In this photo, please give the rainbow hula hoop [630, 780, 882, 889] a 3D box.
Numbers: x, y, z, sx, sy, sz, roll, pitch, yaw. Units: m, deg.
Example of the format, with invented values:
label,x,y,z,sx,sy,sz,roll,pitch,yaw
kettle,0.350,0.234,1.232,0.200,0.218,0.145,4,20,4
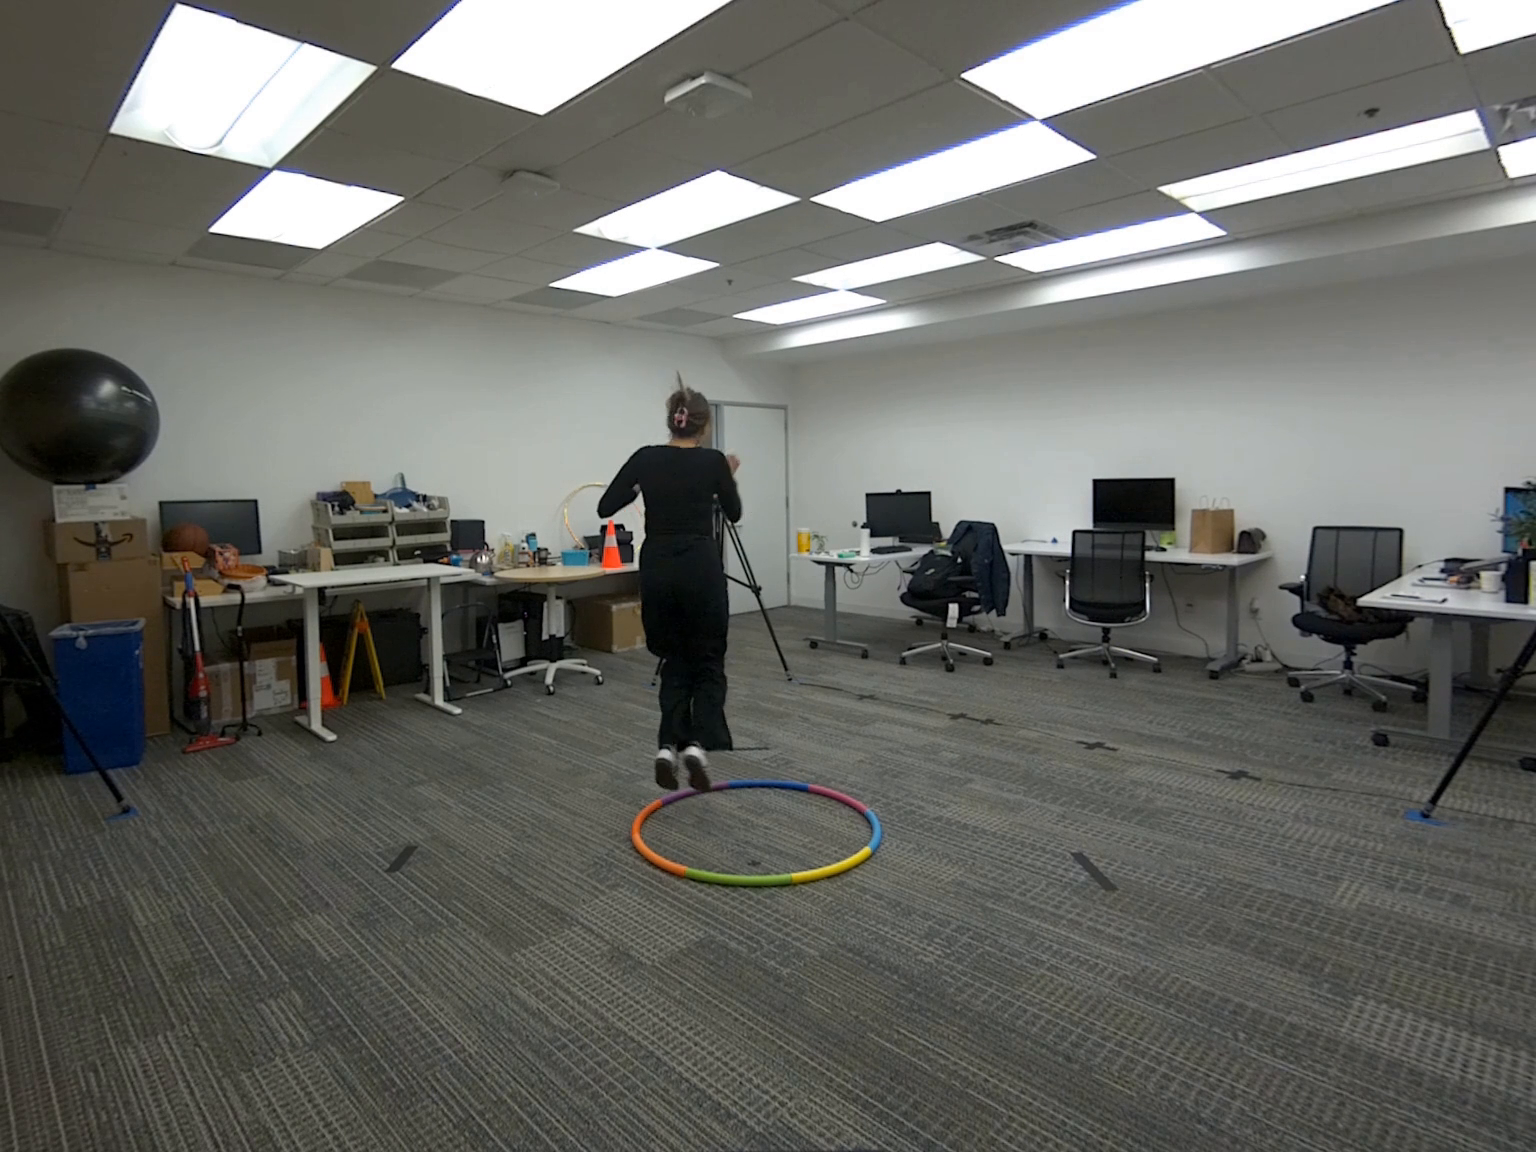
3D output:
label,x,y,z,sx,sy,sz,roll,pitch,yaw
rainbow hula hoop,-0.047,0.983,3.401,0.978,0.035,0.984,-1,6,-2
